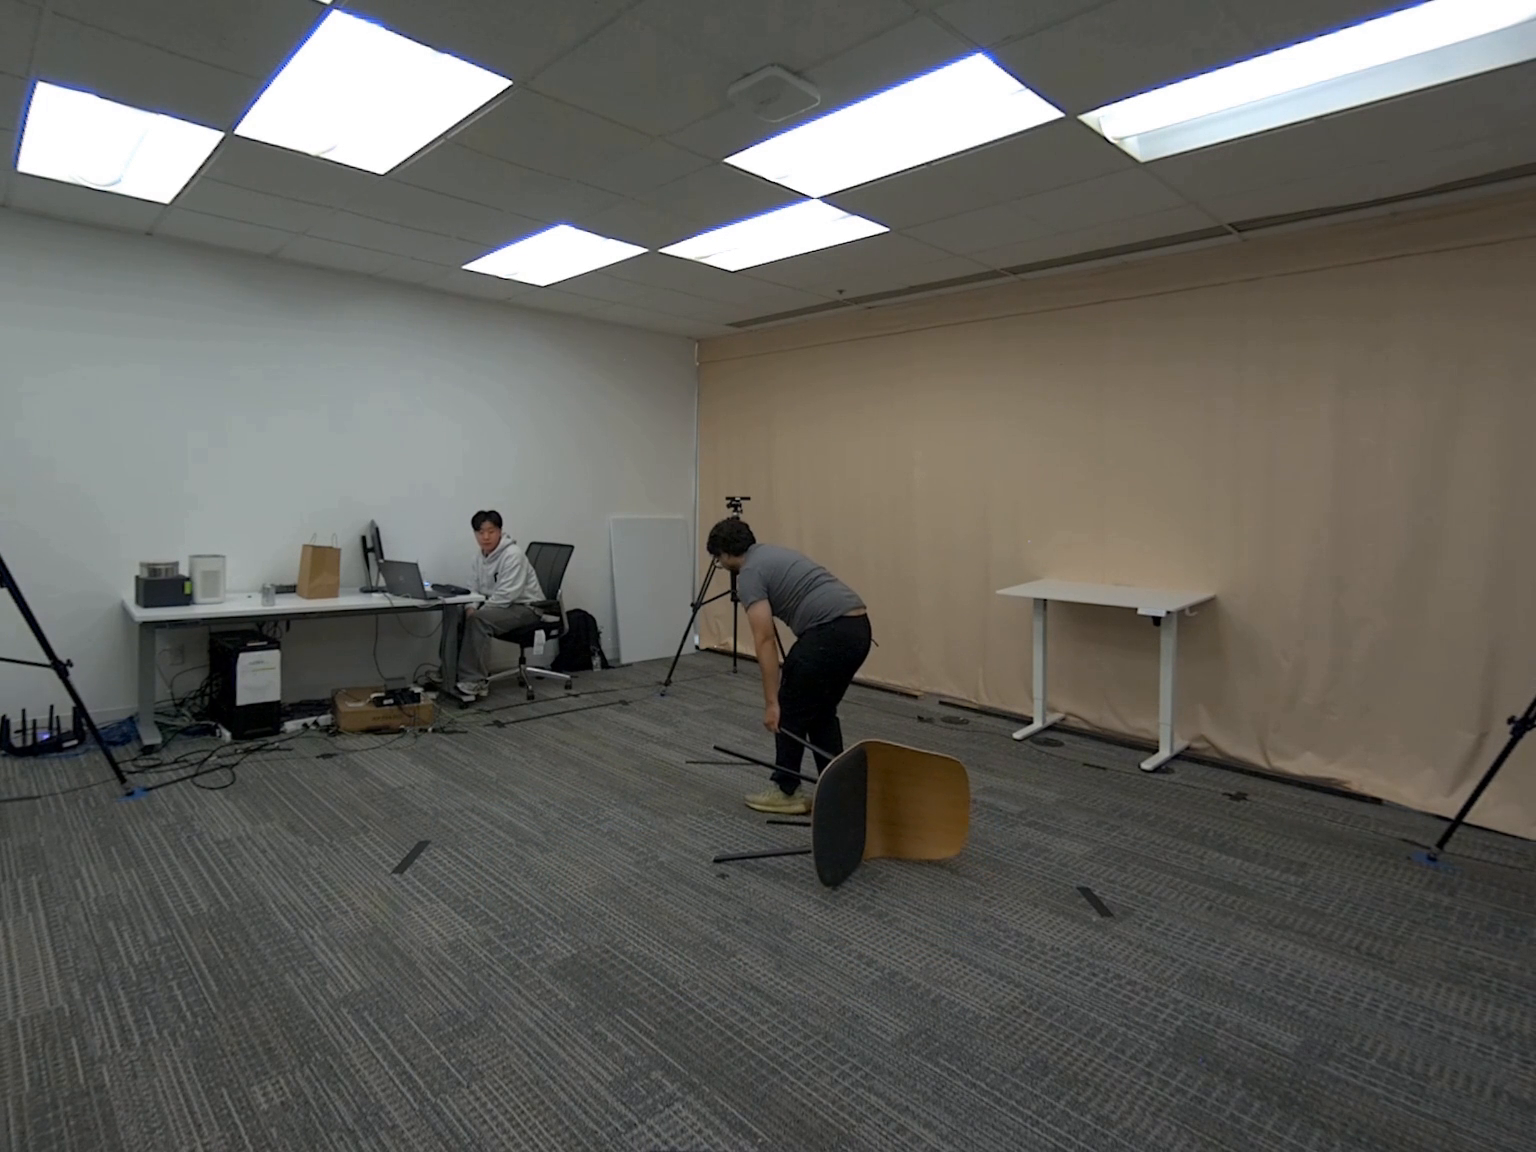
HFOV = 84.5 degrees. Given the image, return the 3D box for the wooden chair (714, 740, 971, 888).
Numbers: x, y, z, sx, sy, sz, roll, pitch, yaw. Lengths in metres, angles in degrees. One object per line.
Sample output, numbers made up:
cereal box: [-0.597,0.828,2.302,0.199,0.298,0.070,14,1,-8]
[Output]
wooden chair: [0.264,0.876,3.177,0.894,0.477,0.514,4,4,25]
